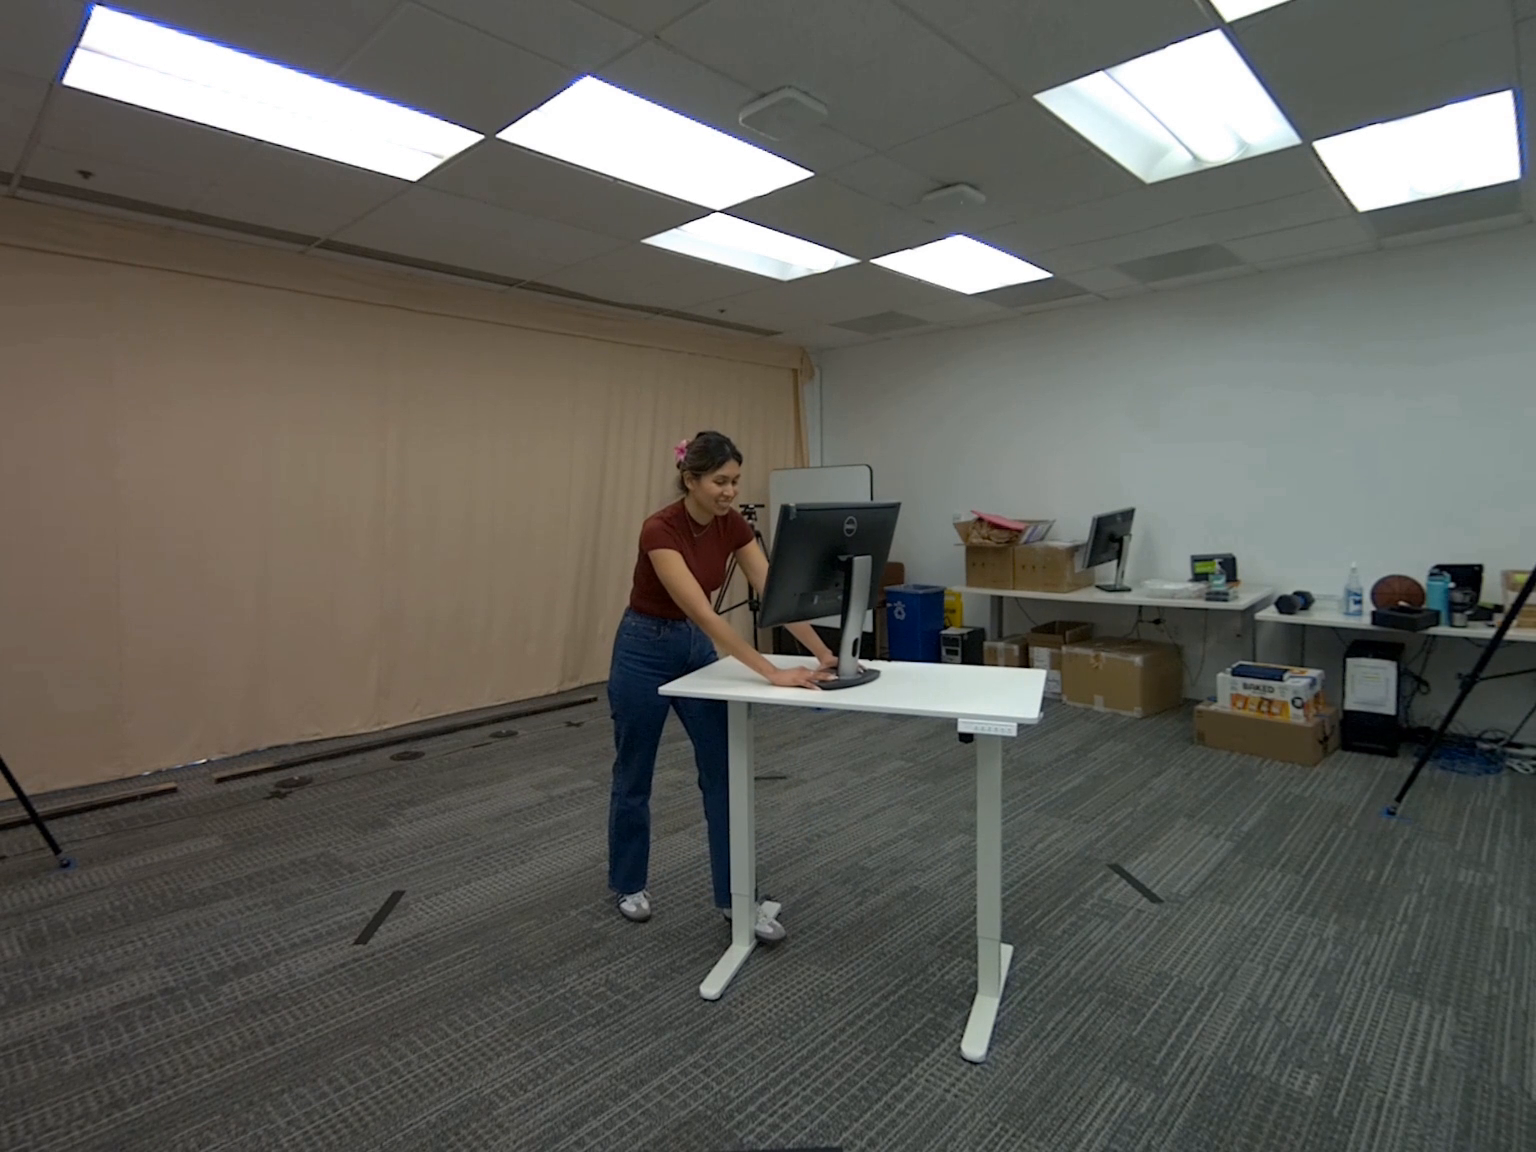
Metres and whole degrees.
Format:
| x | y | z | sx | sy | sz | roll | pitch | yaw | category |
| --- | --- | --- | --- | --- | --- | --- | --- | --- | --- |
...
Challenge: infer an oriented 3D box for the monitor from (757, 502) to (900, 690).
| x | y | z | sx | sy | sz | roll | pitch | yaw | category |
| --- | --- | --- | --- | --- | --- | --- | --- | --- | --- |
| 0.210 | 0.051 | 2.411 | 0.193 | 0.521 | 0.523 | 4 | 6 | 41 | monitor |
